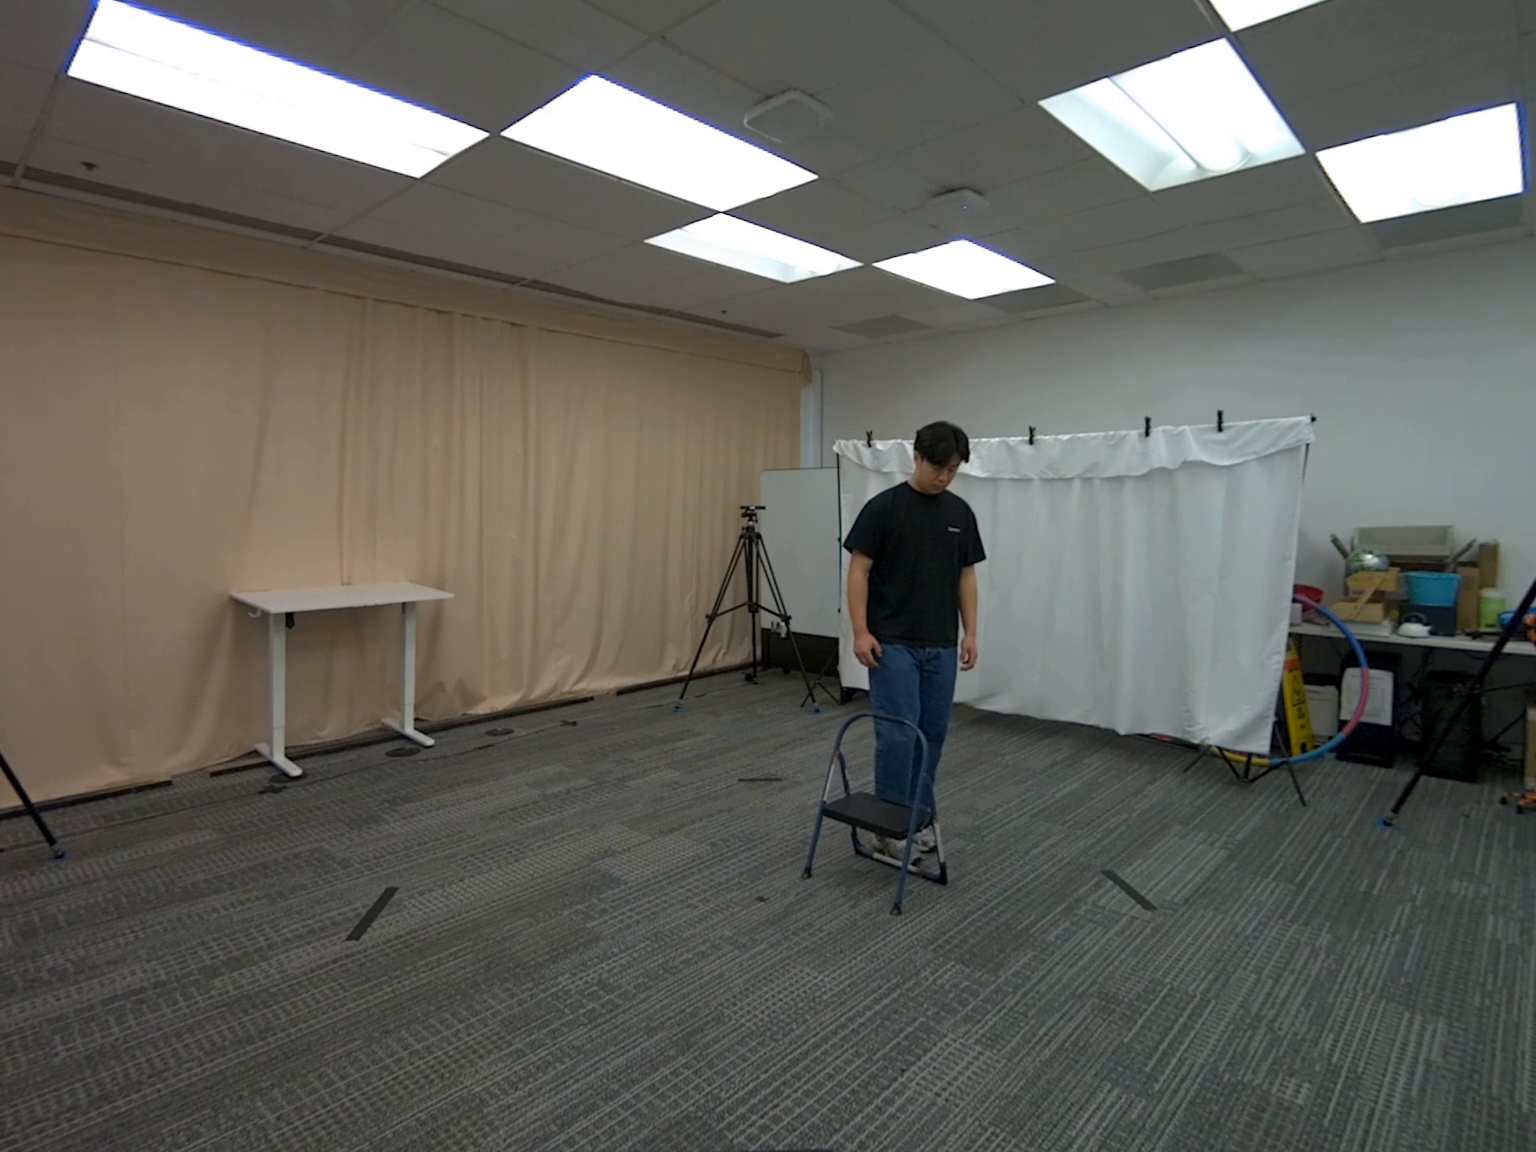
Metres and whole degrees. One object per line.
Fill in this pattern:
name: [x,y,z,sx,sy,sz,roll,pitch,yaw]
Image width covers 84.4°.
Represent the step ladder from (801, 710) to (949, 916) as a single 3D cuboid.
step ladder: [0.399,0.829,3.111,0.445,0.605,0.338,3,5,44]
